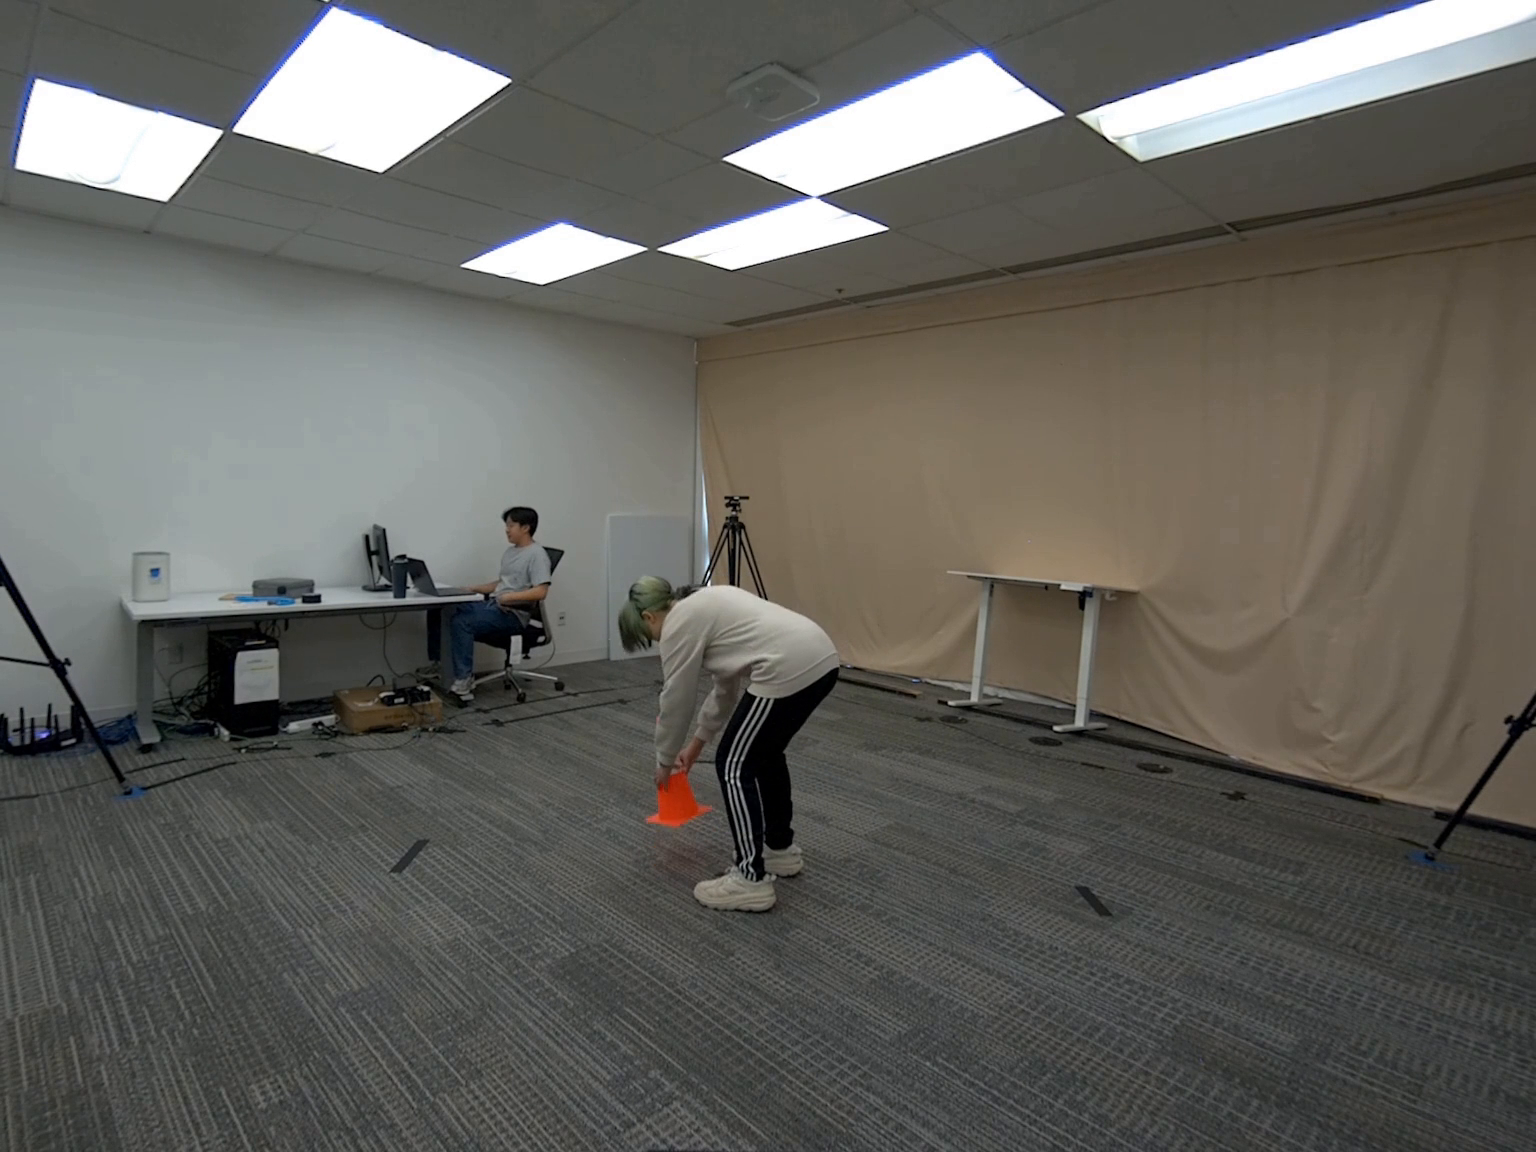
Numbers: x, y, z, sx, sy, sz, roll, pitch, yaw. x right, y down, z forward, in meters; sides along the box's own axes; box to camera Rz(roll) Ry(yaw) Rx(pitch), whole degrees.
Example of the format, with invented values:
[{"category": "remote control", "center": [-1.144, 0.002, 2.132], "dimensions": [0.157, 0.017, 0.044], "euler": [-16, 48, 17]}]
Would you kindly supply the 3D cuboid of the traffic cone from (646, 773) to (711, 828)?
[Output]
[{"category": "traffic cone", "center": [-0.385, 0.731, 3.247], "dimensions": [0.201, 0.384, 0.207], "euler": [-8, 0, -42]}]
